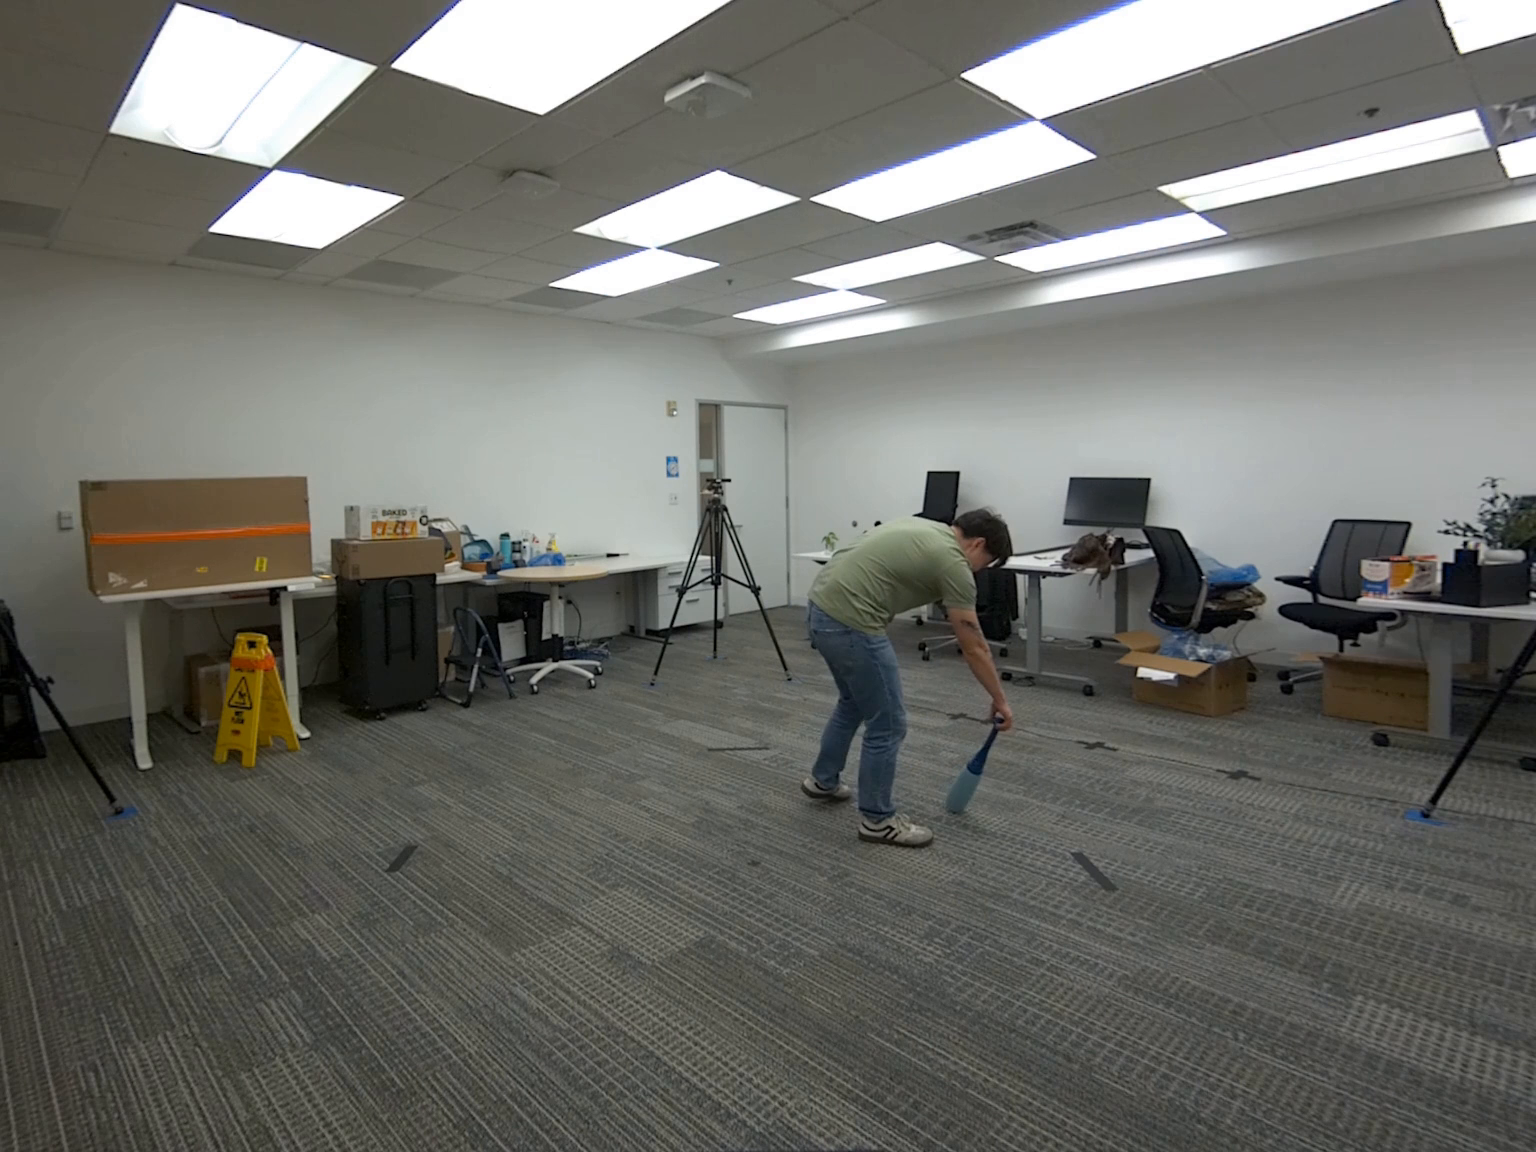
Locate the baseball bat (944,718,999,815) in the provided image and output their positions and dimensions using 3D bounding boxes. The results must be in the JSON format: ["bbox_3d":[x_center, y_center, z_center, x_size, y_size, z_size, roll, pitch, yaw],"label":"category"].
[{"bbox_3d":[0.830,0.757,3.423,0.088,0.534,0.091,11,37,-10],"label":"baseball bat"}]
